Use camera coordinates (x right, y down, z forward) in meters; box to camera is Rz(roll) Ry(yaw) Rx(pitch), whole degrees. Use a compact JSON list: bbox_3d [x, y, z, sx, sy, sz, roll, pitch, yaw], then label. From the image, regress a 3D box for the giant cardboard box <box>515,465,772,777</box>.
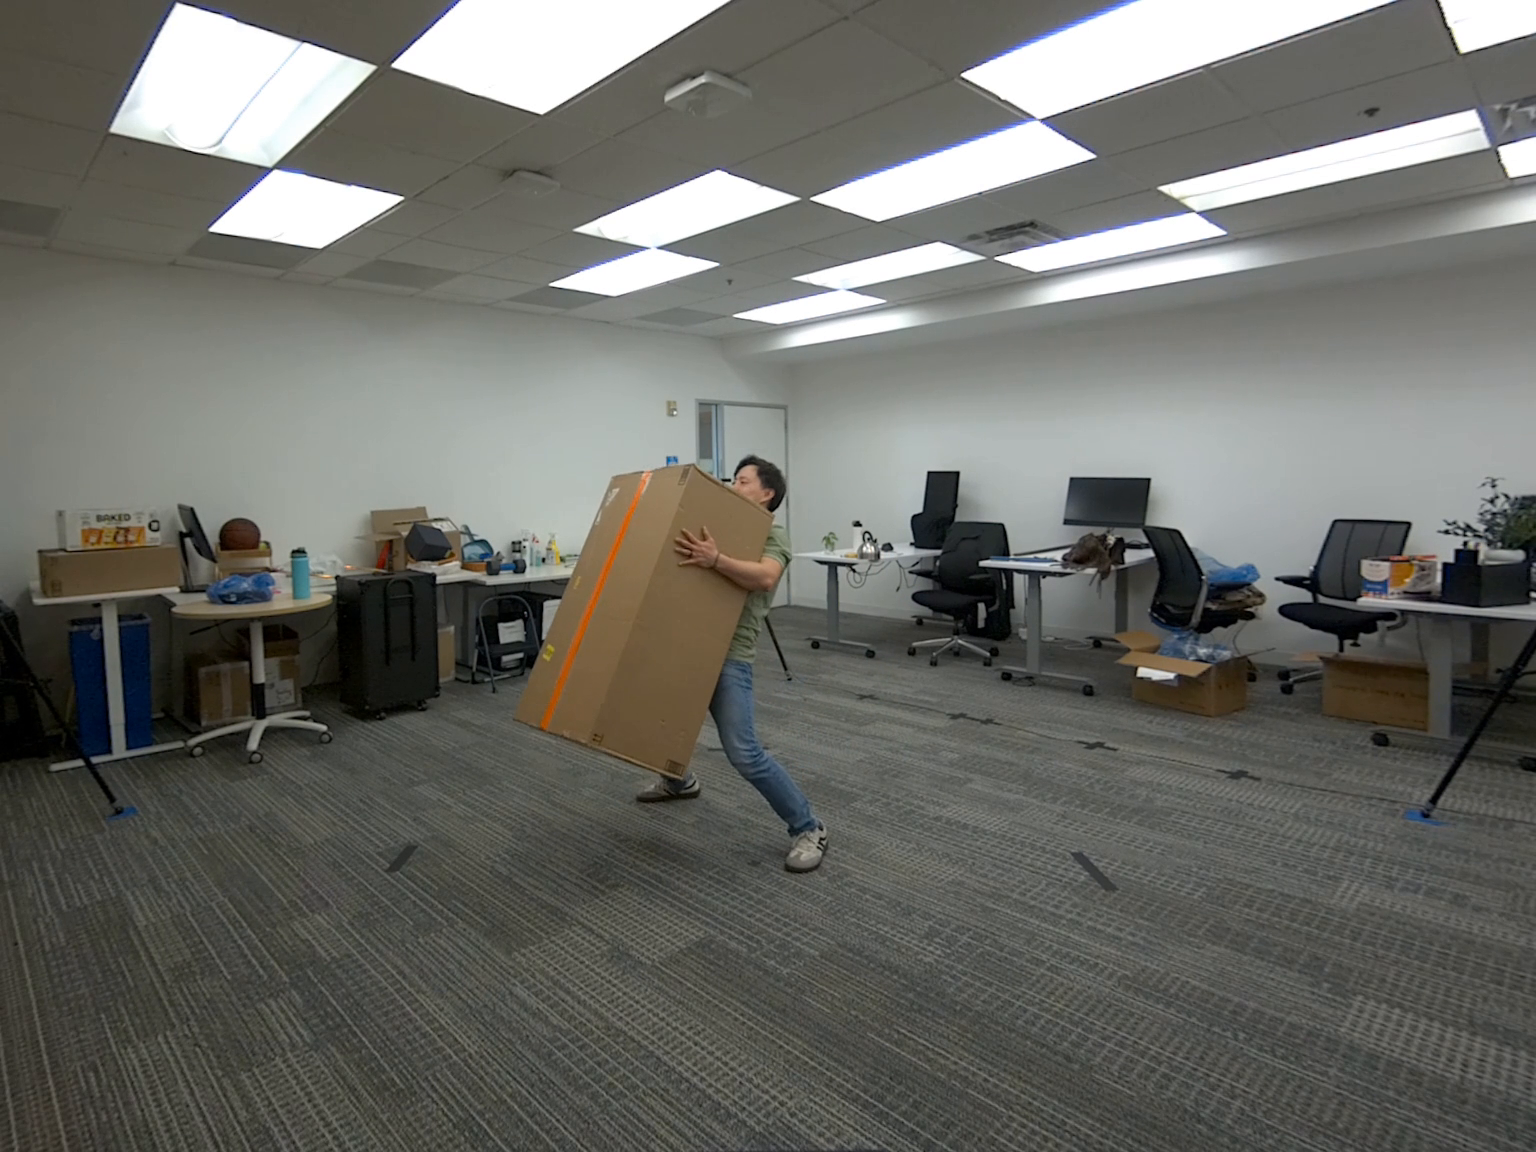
[{"bbox_3d":[-0.466,0.154,3.204,0.411,1.034,0.593,29,-19,-34],"label":"giant cardboard box"}]
